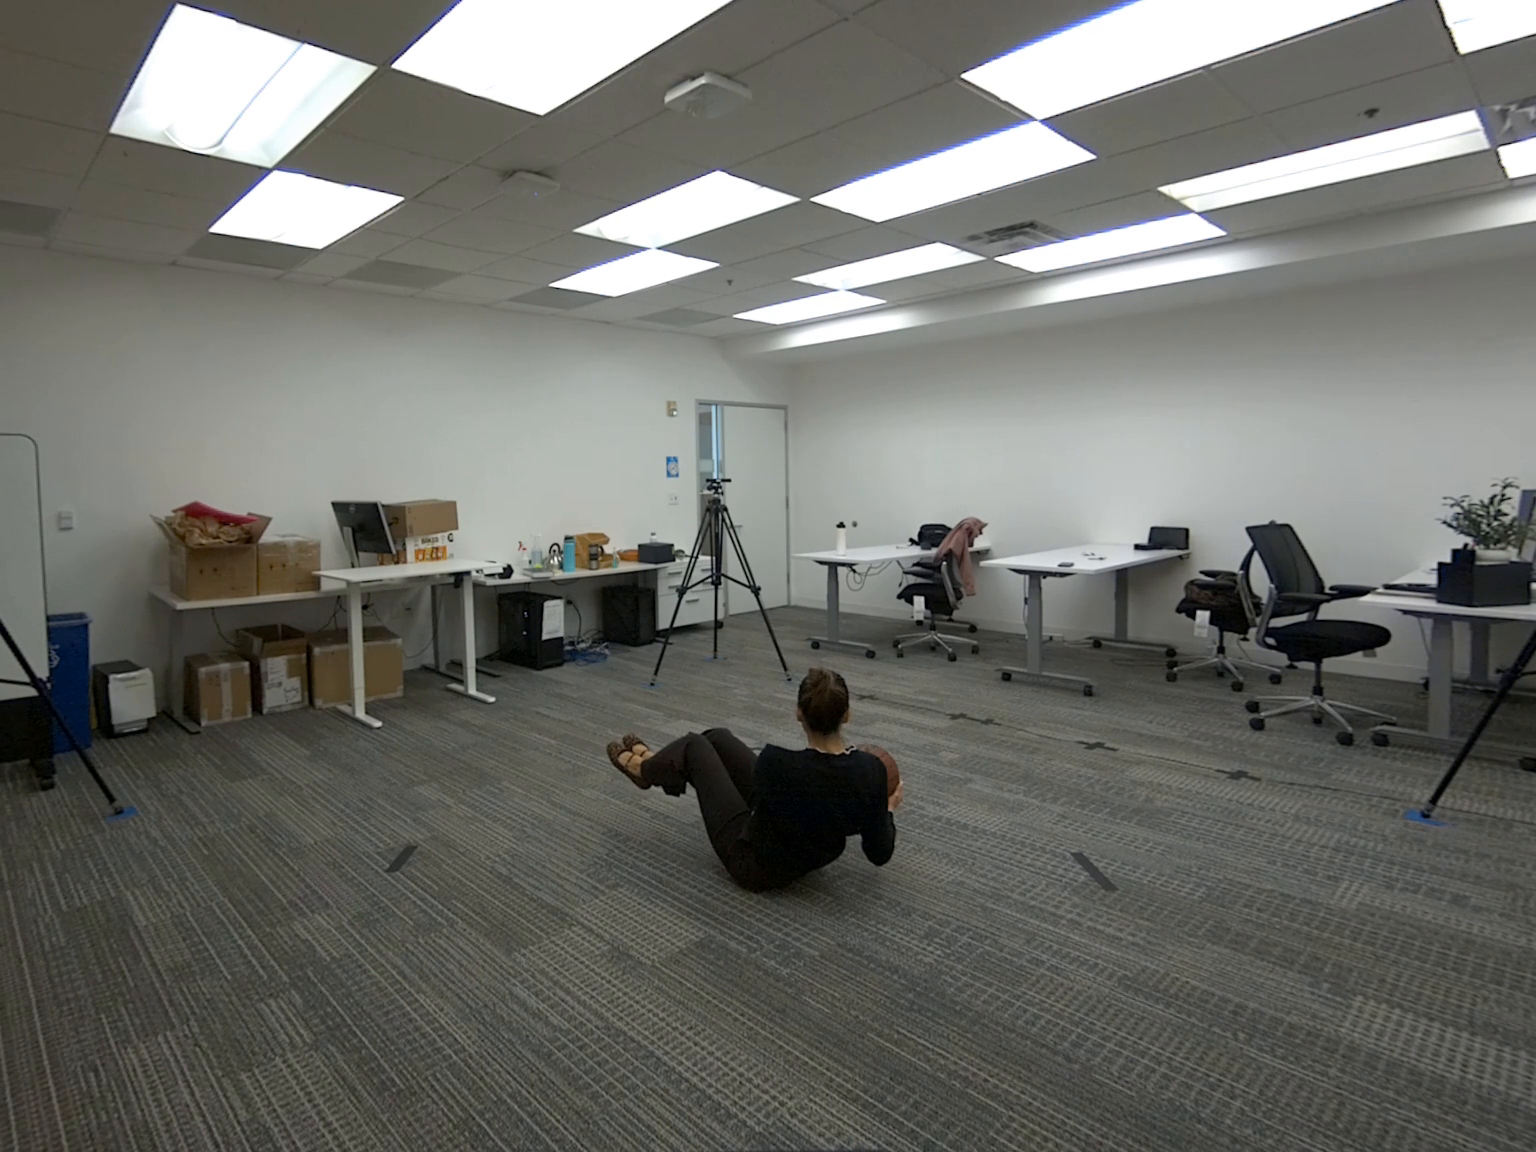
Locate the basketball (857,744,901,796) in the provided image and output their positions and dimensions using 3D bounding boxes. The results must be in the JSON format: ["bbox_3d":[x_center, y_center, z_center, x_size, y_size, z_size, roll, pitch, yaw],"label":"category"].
[{"bbox_3d":[0.376,0.739,3.182,0.236,0.235,0.237,-1,5,-2],"label":"basketball"}]
